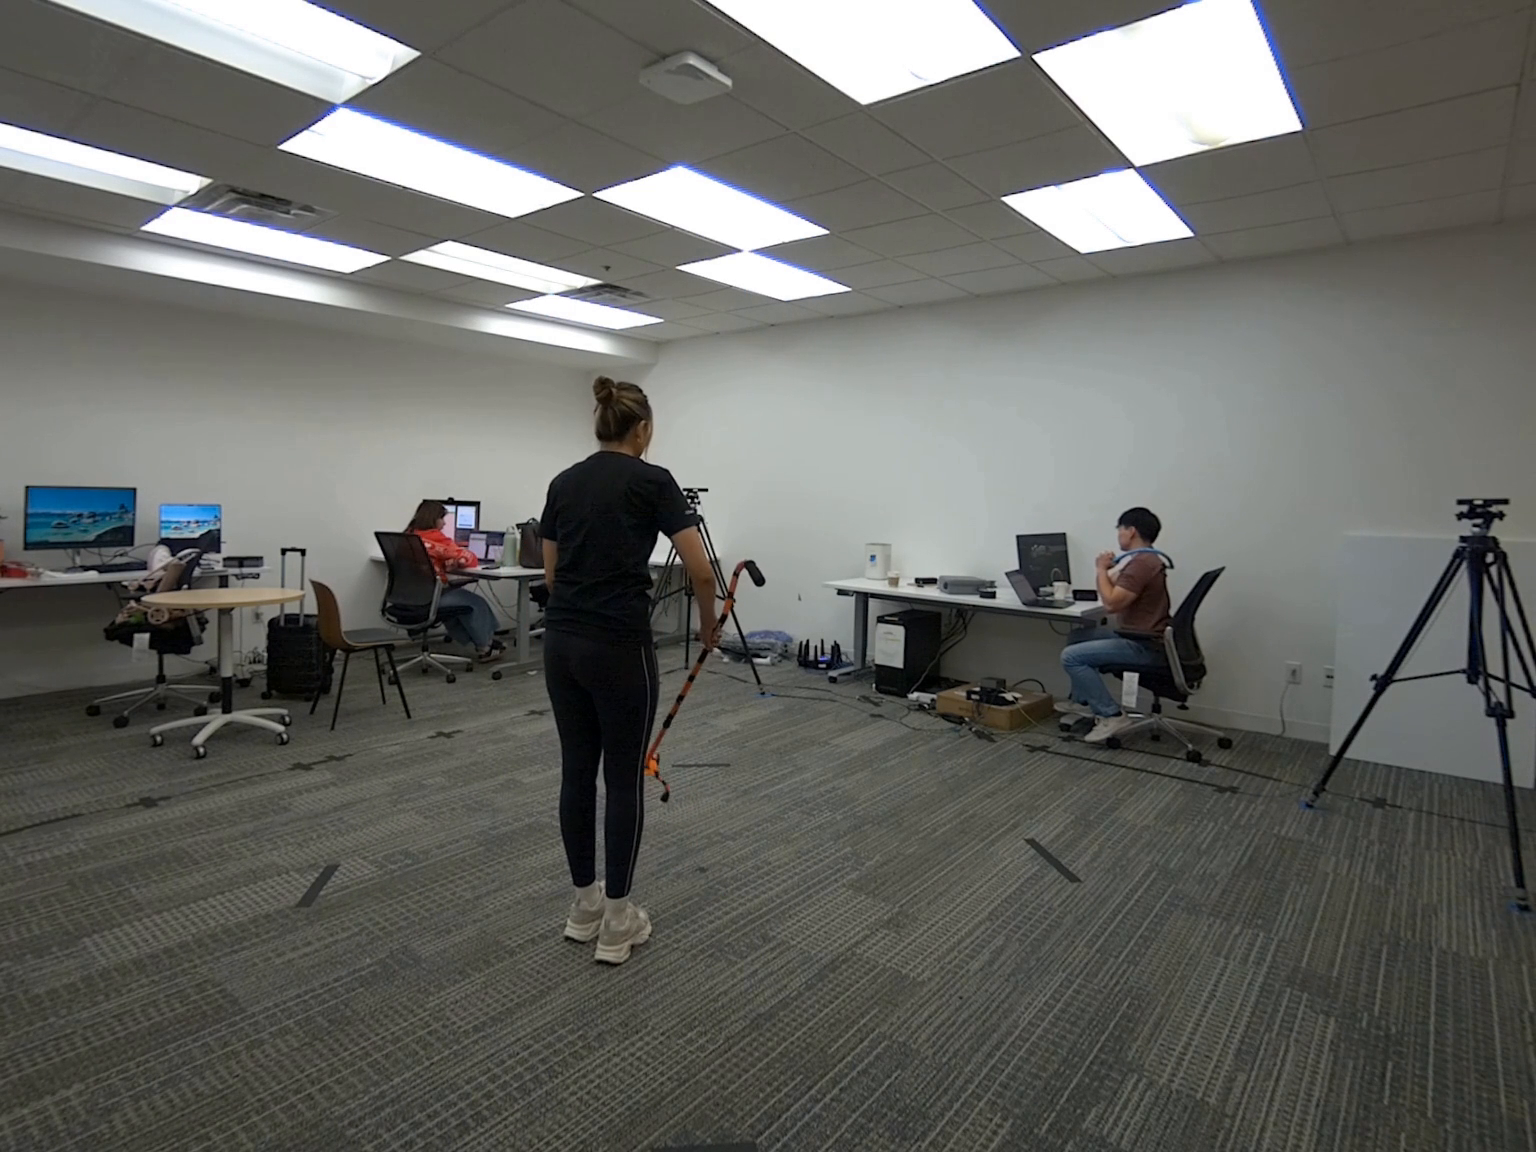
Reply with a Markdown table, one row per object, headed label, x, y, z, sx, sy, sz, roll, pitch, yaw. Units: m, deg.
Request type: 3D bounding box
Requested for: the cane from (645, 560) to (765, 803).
| label | x | y | z | sx | sy | sz | roll | pitch | yaw |
| --- | --- | --- | --- | --- | --- | --- | --- | --- | --- |
| cane | -0.248 | 0.345 | 2.818 | 0.147 | 0.902 | 0.214 | 20 | 20 | -24 |
